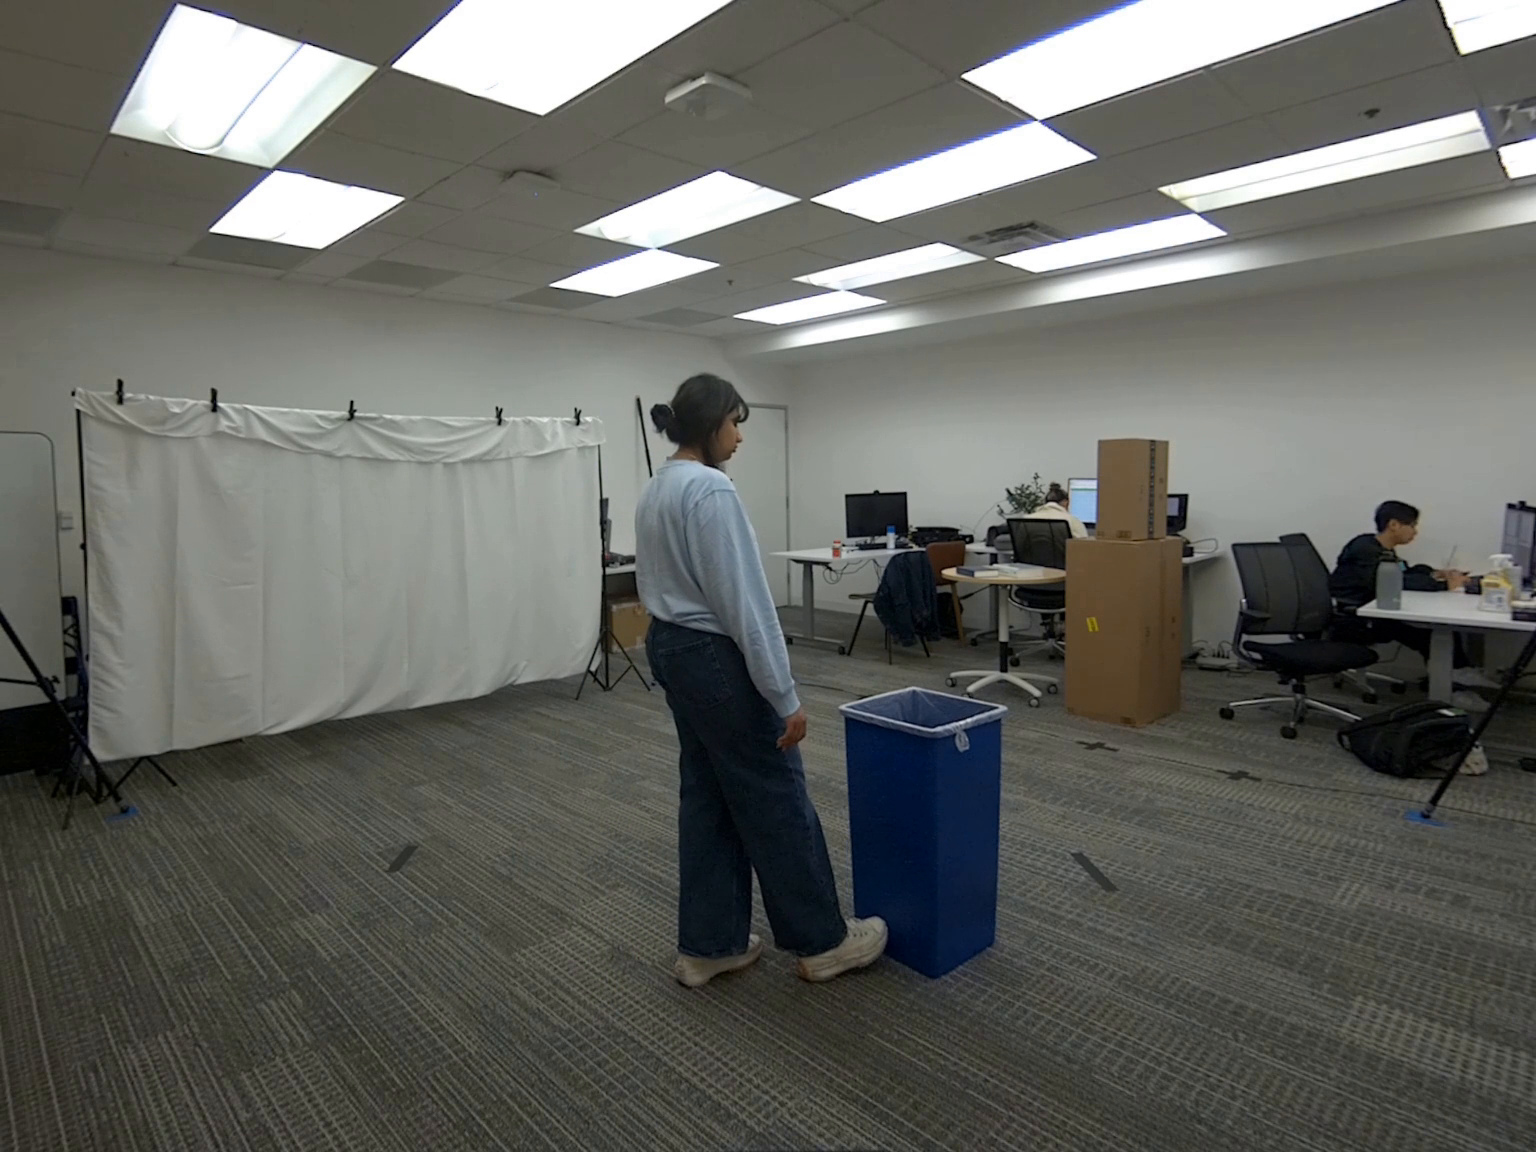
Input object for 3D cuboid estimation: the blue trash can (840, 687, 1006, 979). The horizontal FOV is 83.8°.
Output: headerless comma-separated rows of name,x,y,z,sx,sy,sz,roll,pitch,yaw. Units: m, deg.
blue trash can,0.476,0.744,2.565,0.364,0.711,0.389,-5,5,-41
